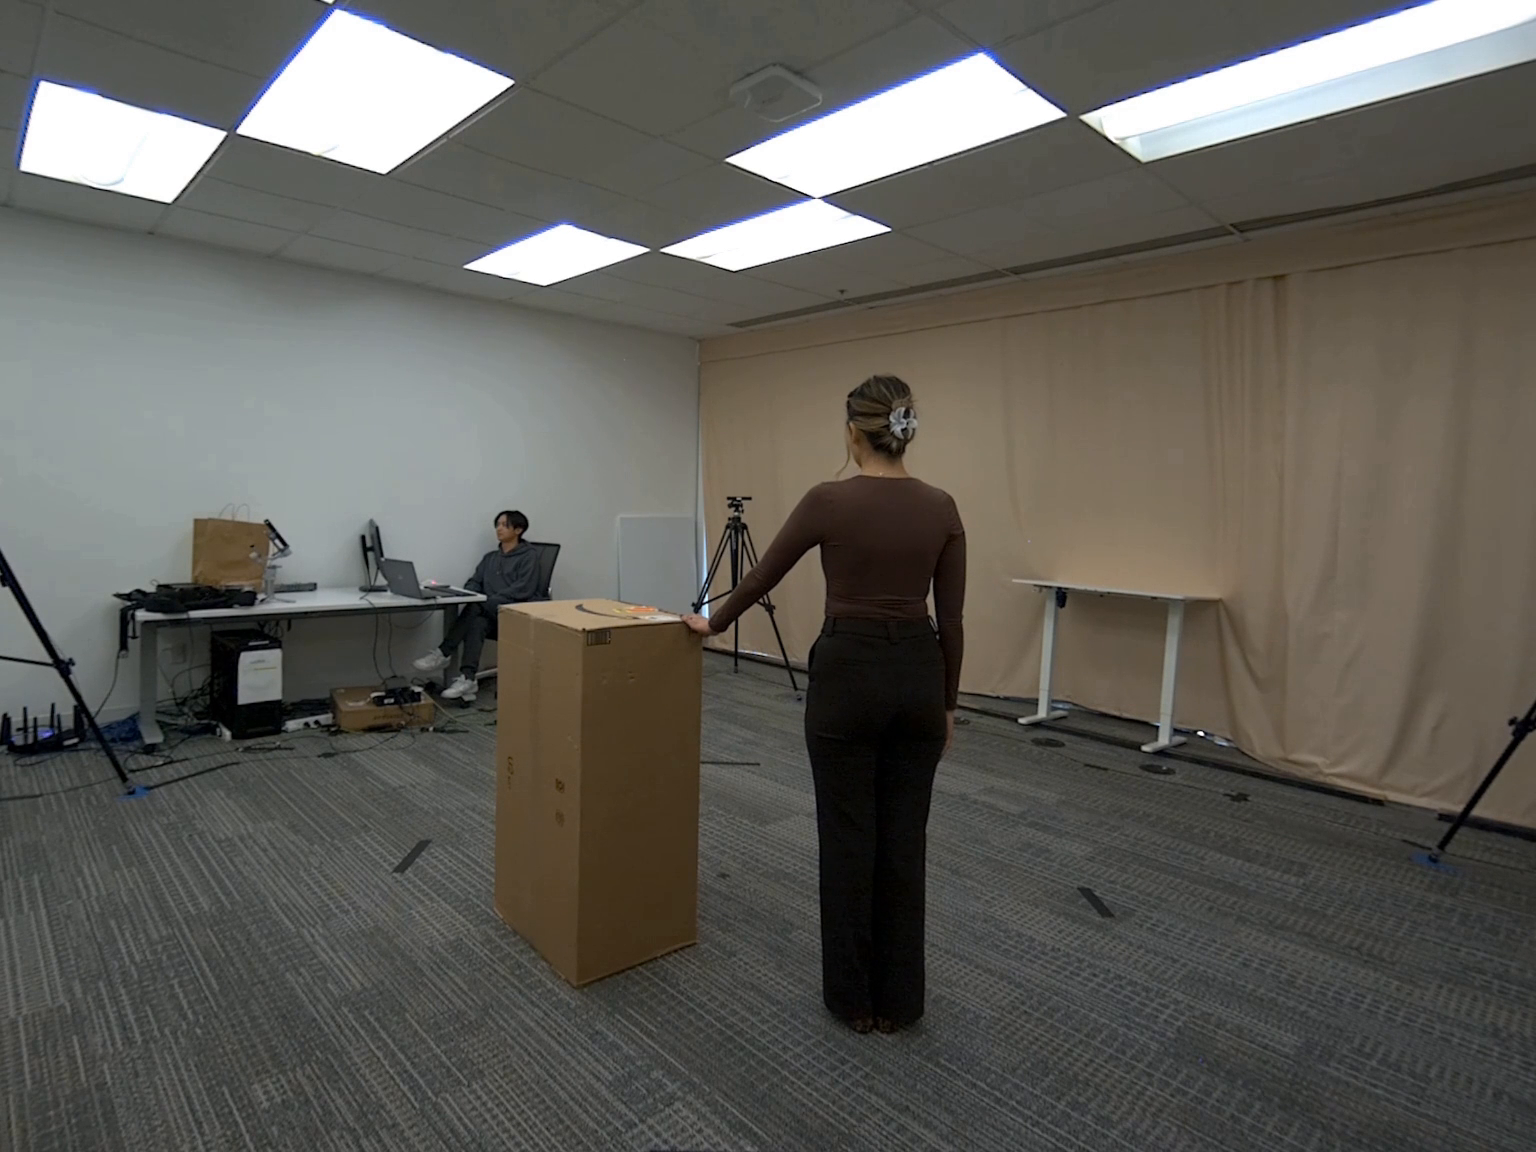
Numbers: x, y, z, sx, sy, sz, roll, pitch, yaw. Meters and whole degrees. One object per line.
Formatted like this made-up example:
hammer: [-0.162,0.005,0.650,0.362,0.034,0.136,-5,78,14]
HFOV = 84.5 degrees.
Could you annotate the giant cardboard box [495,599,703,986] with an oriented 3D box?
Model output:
giant cardboard box: [-0.560,0.626,2.696,0.436,1.025,0.598,0,3,-38]
